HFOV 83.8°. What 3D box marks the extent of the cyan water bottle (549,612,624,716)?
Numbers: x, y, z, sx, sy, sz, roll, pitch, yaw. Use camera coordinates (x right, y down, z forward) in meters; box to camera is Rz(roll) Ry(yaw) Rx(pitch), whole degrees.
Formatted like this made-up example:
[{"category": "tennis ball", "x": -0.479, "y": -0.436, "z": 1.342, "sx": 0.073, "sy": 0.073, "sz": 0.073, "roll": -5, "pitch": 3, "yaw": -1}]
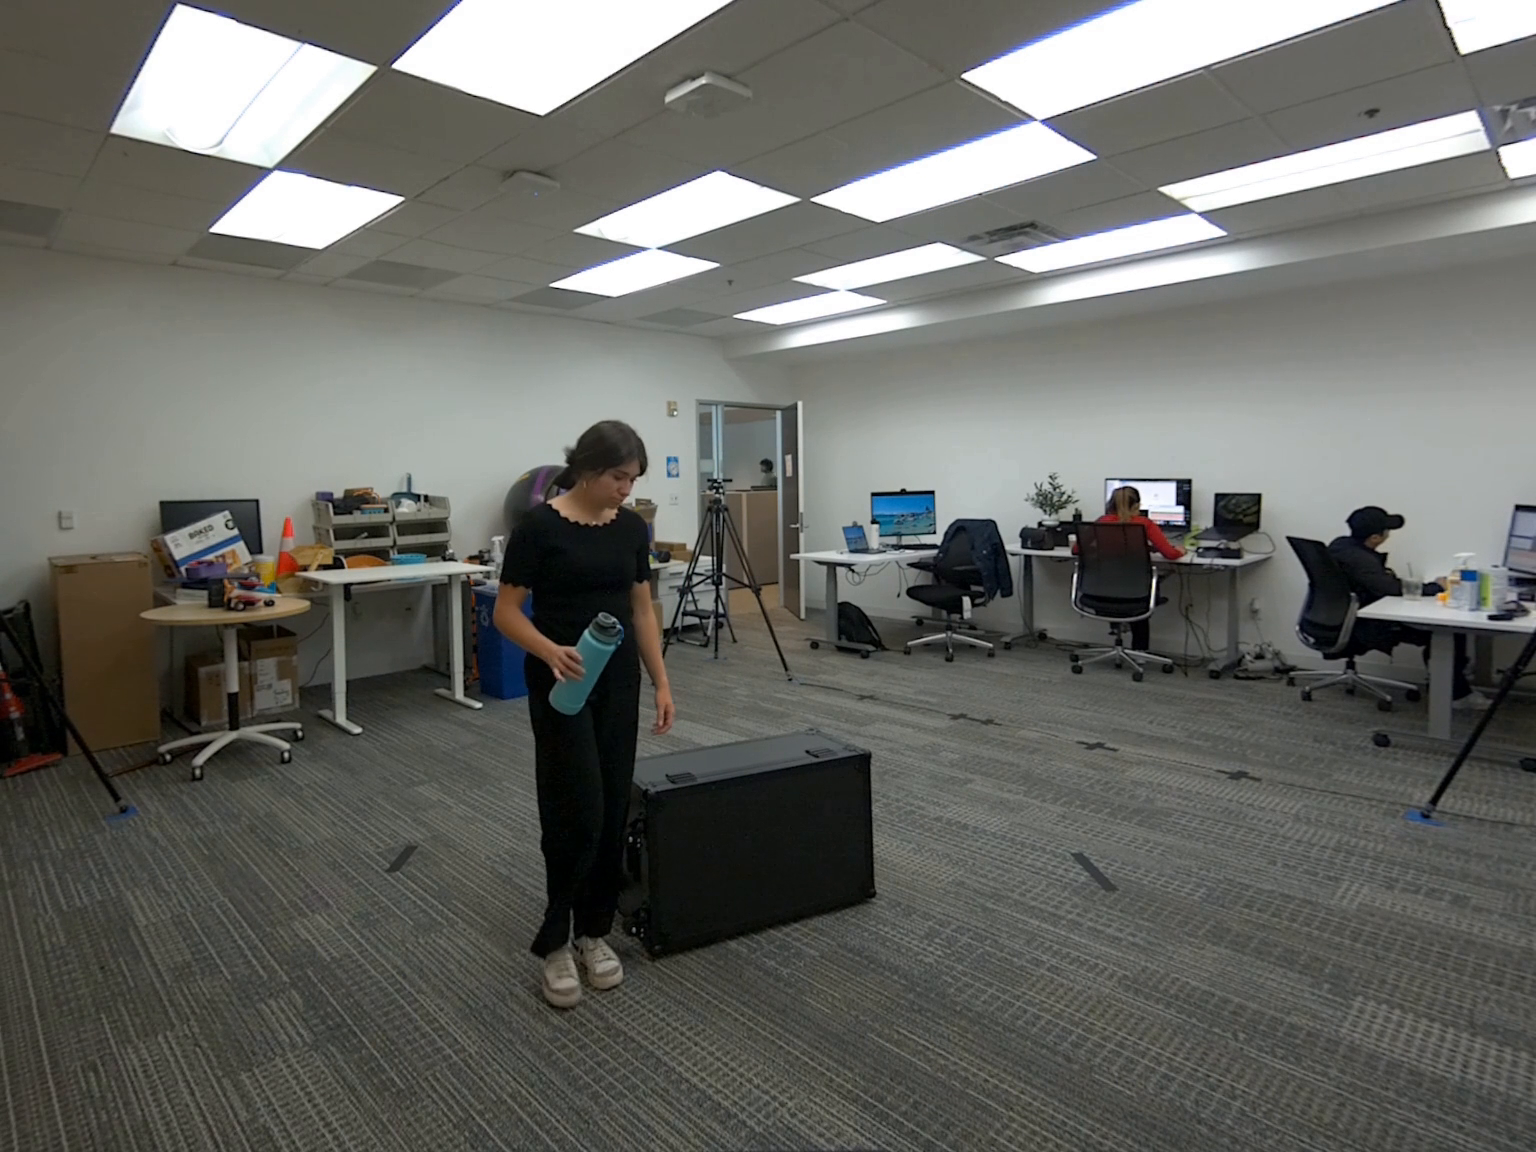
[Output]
[{"category": "cyan water bottle", "x": -0.462, "y": 0.223, "z": 2.185, "sx": 0.091, "sy": 0.282, "sz": 0.094, "roll": 27, "pitch": 17, "yaw": -11}]
